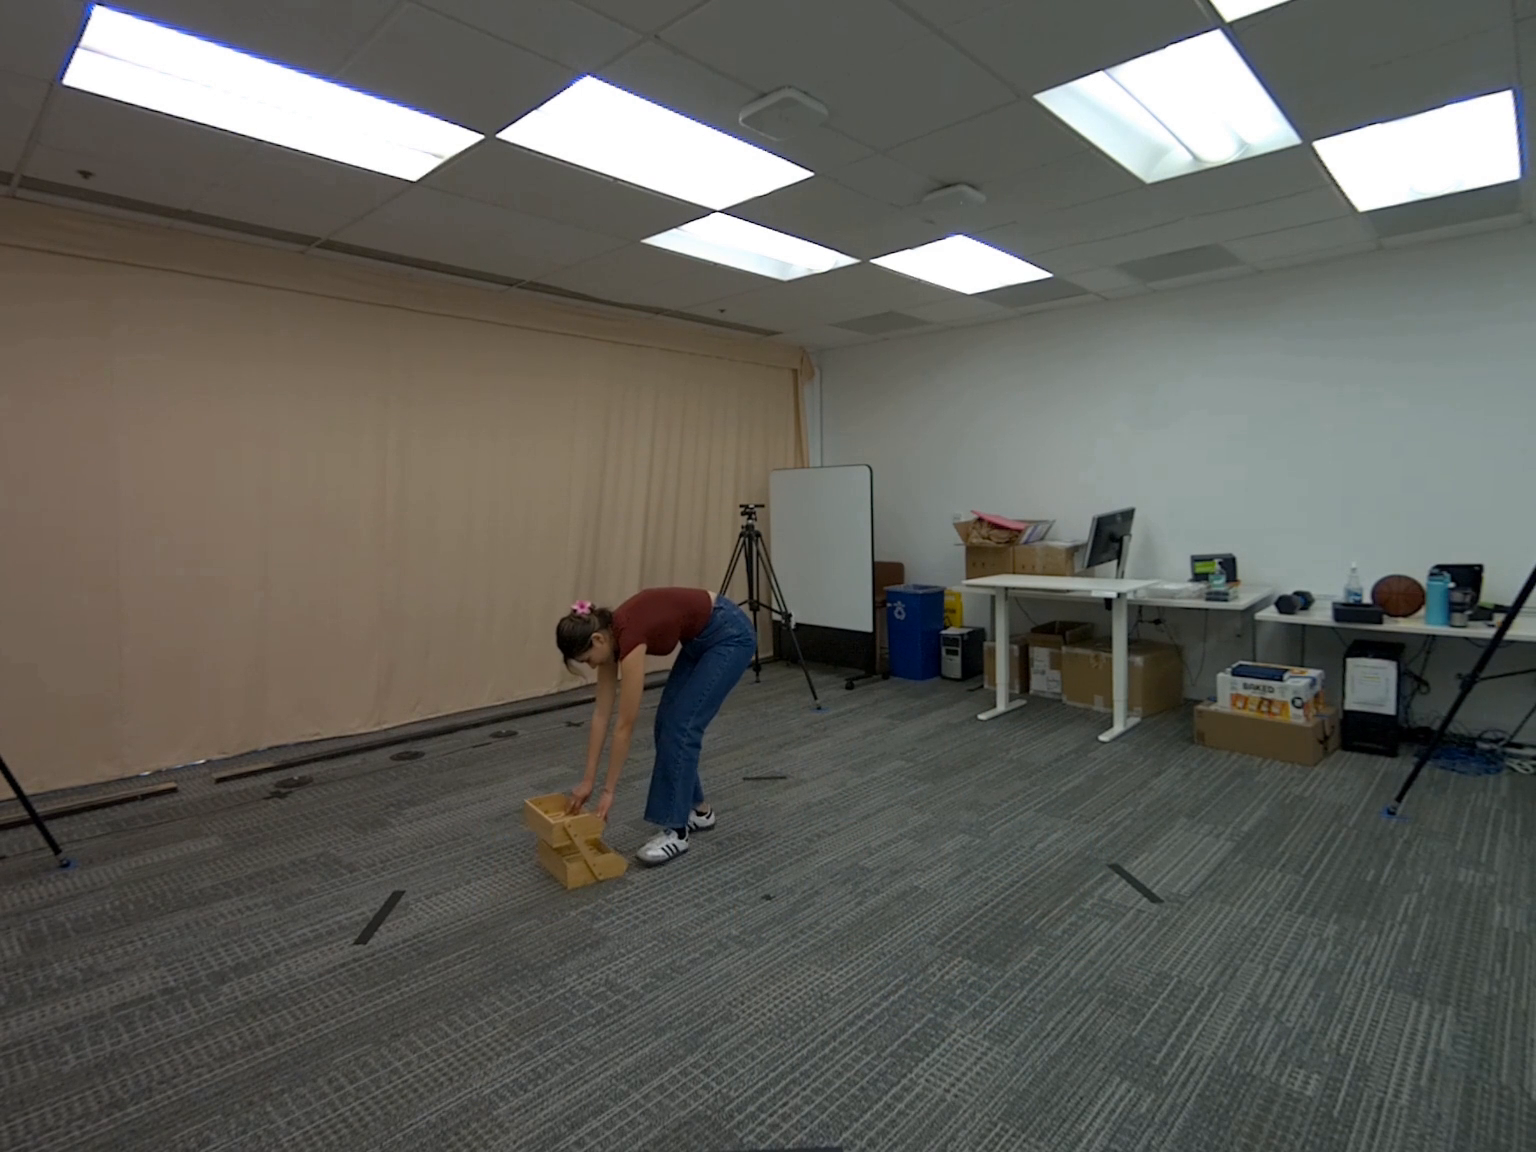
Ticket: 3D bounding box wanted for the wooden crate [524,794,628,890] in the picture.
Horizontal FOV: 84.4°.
[{"bbox_3d":[-0.742,0.998,3.248,0.293,0.273,0.334,-4,5,-34],"label":"wooden crate"}]
